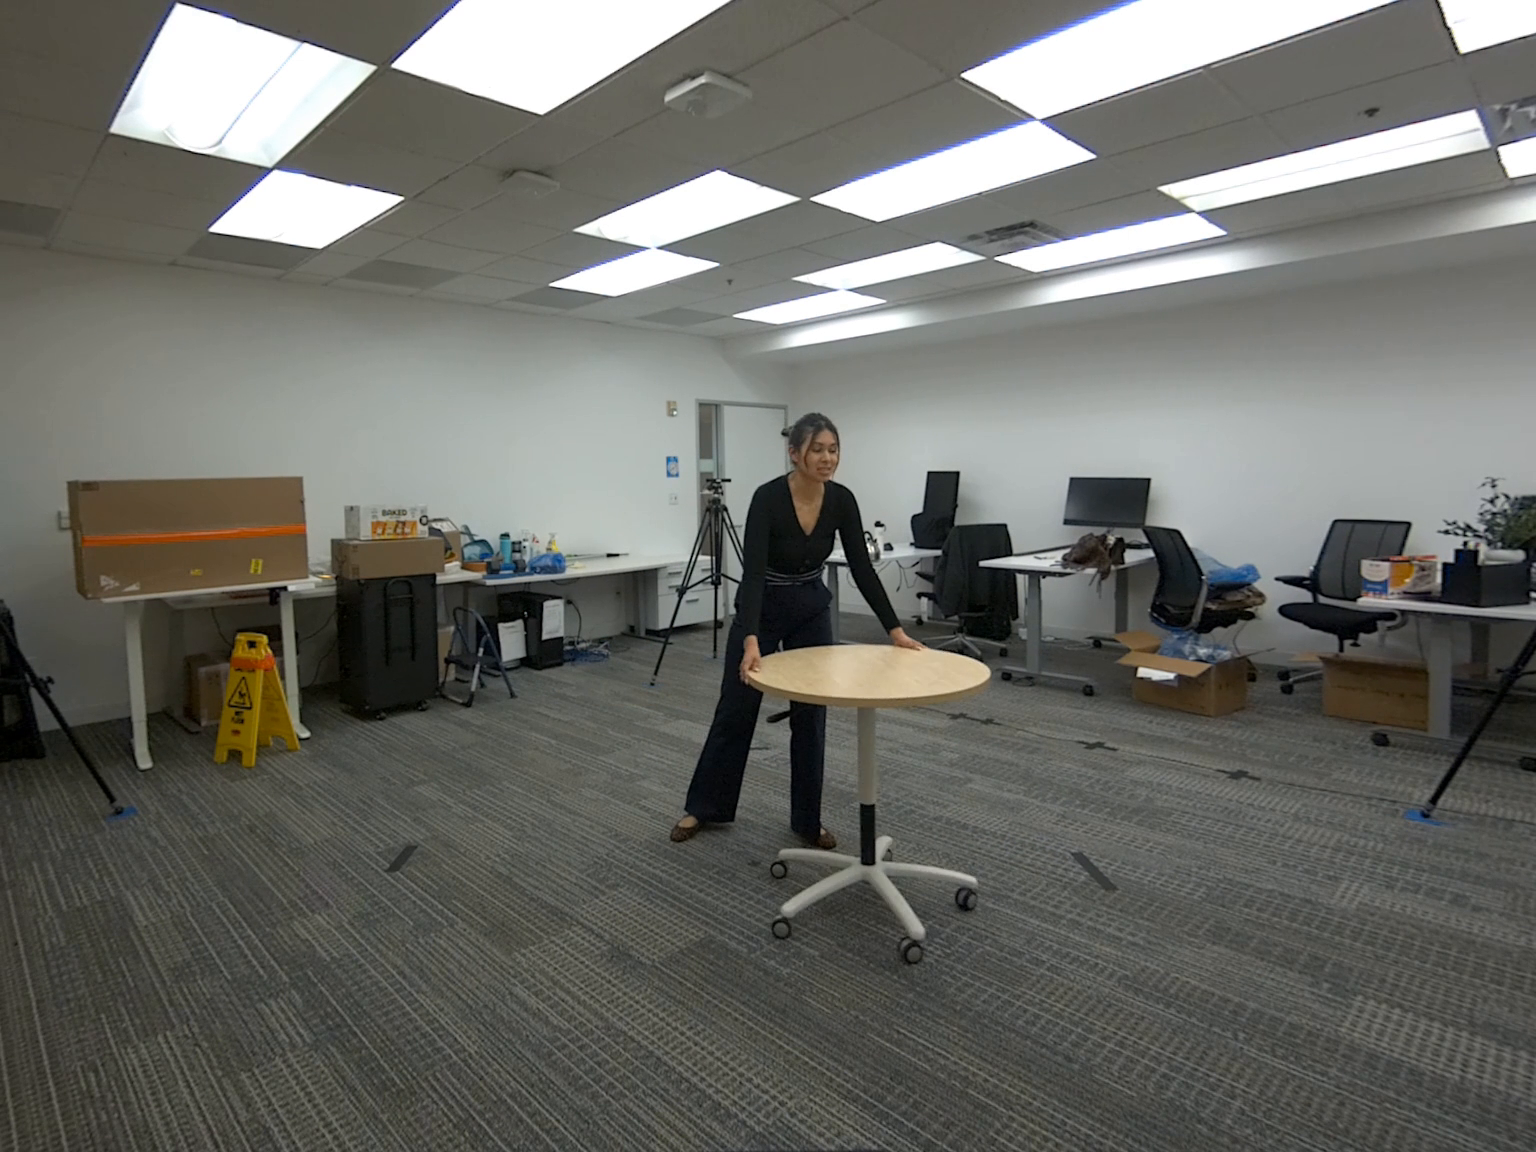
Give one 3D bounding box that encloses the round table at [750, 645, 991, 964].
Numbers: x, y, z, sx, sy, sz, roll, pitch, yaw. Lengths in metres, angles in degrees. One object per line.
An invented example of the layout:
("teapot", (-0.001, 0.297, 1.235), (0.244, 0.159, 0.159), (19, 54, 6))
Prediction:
("round table", (0.318, 0.686, 2.775), (0.763, 0.791, 0.768), (-1, 5, -2))
